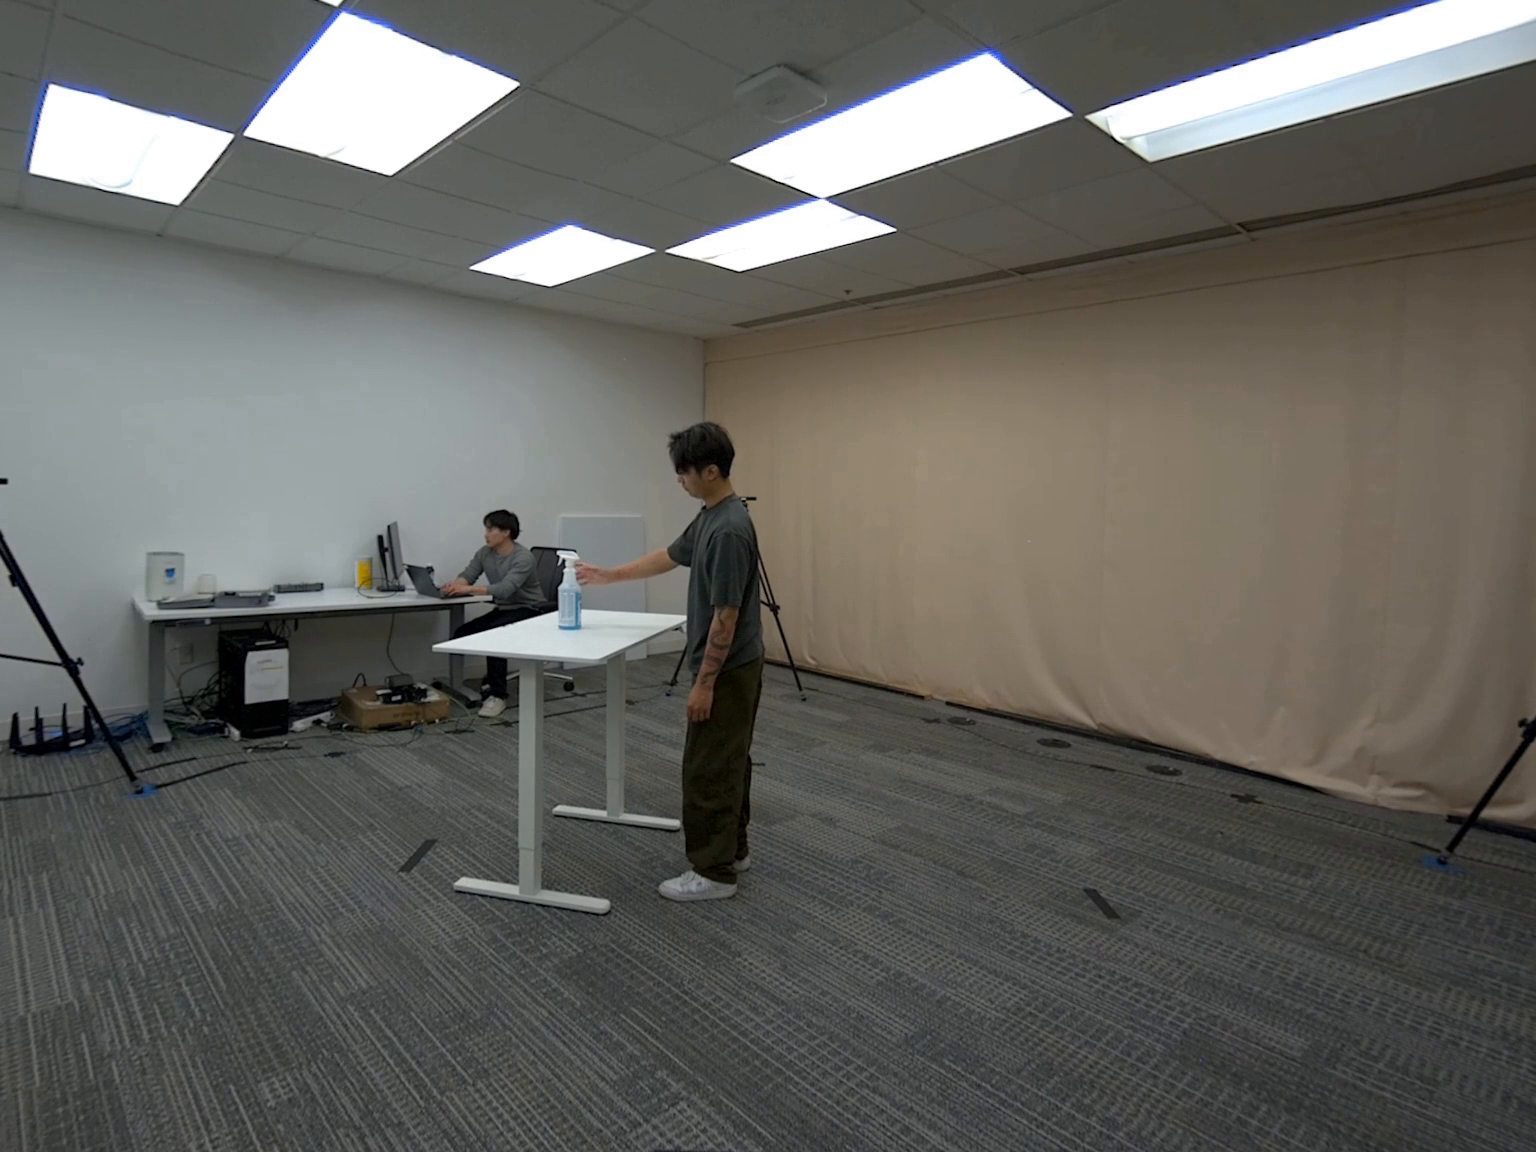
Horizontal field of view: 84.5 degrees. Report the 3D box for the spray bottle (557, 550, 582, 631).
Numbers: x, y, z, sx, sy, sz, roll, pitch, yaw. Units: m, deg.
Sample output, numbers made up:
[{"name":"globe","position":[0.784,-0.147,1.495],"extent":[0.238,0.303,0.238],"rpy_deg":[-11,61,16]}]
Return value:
[{"name":"spray bottle","position":[-0.758,0.055,3.213],"extent":[0.092,0.296,0.085],"rpy_deg":[4,5,40]}]
